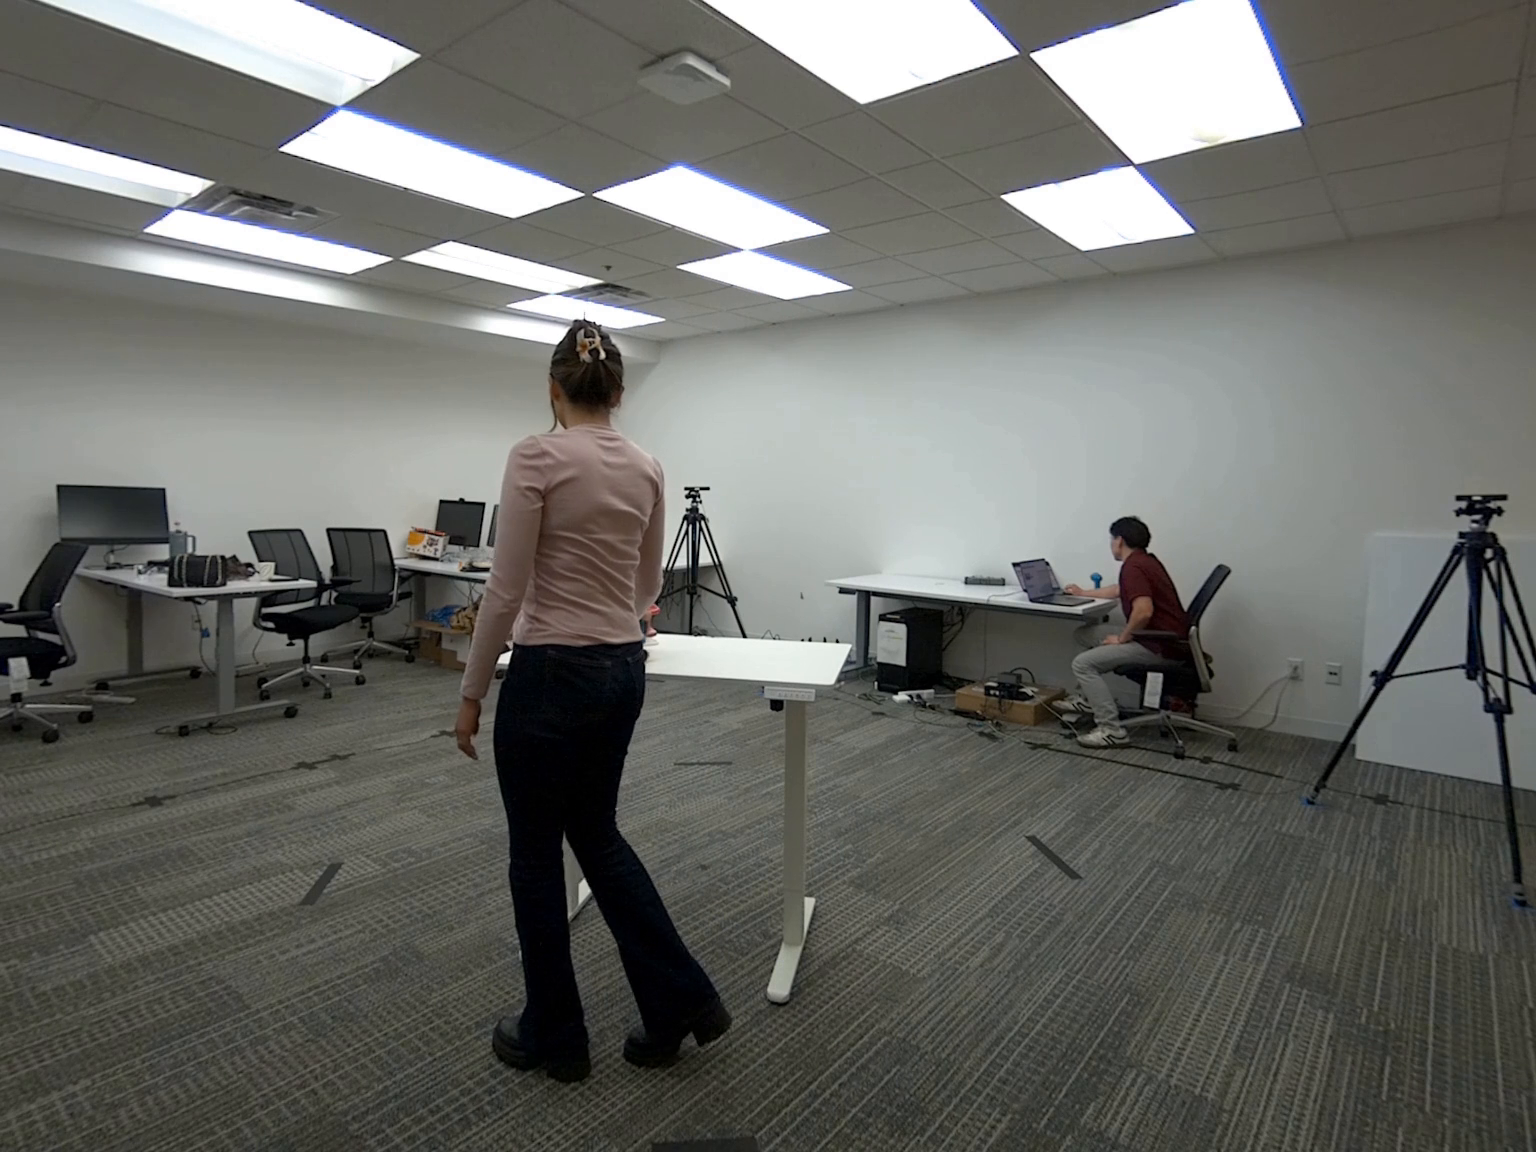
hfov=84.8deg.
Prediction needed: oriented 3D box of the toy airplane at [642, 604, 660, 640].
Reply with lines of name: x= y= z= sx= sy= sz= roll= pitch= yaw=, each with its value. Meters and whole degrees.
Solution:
toy airplane: x=-0.426 y=0.159 z=2.559 sx=0.267 sy=0.156 sz=0.245 roll=2 pitch=6 yaw=30
